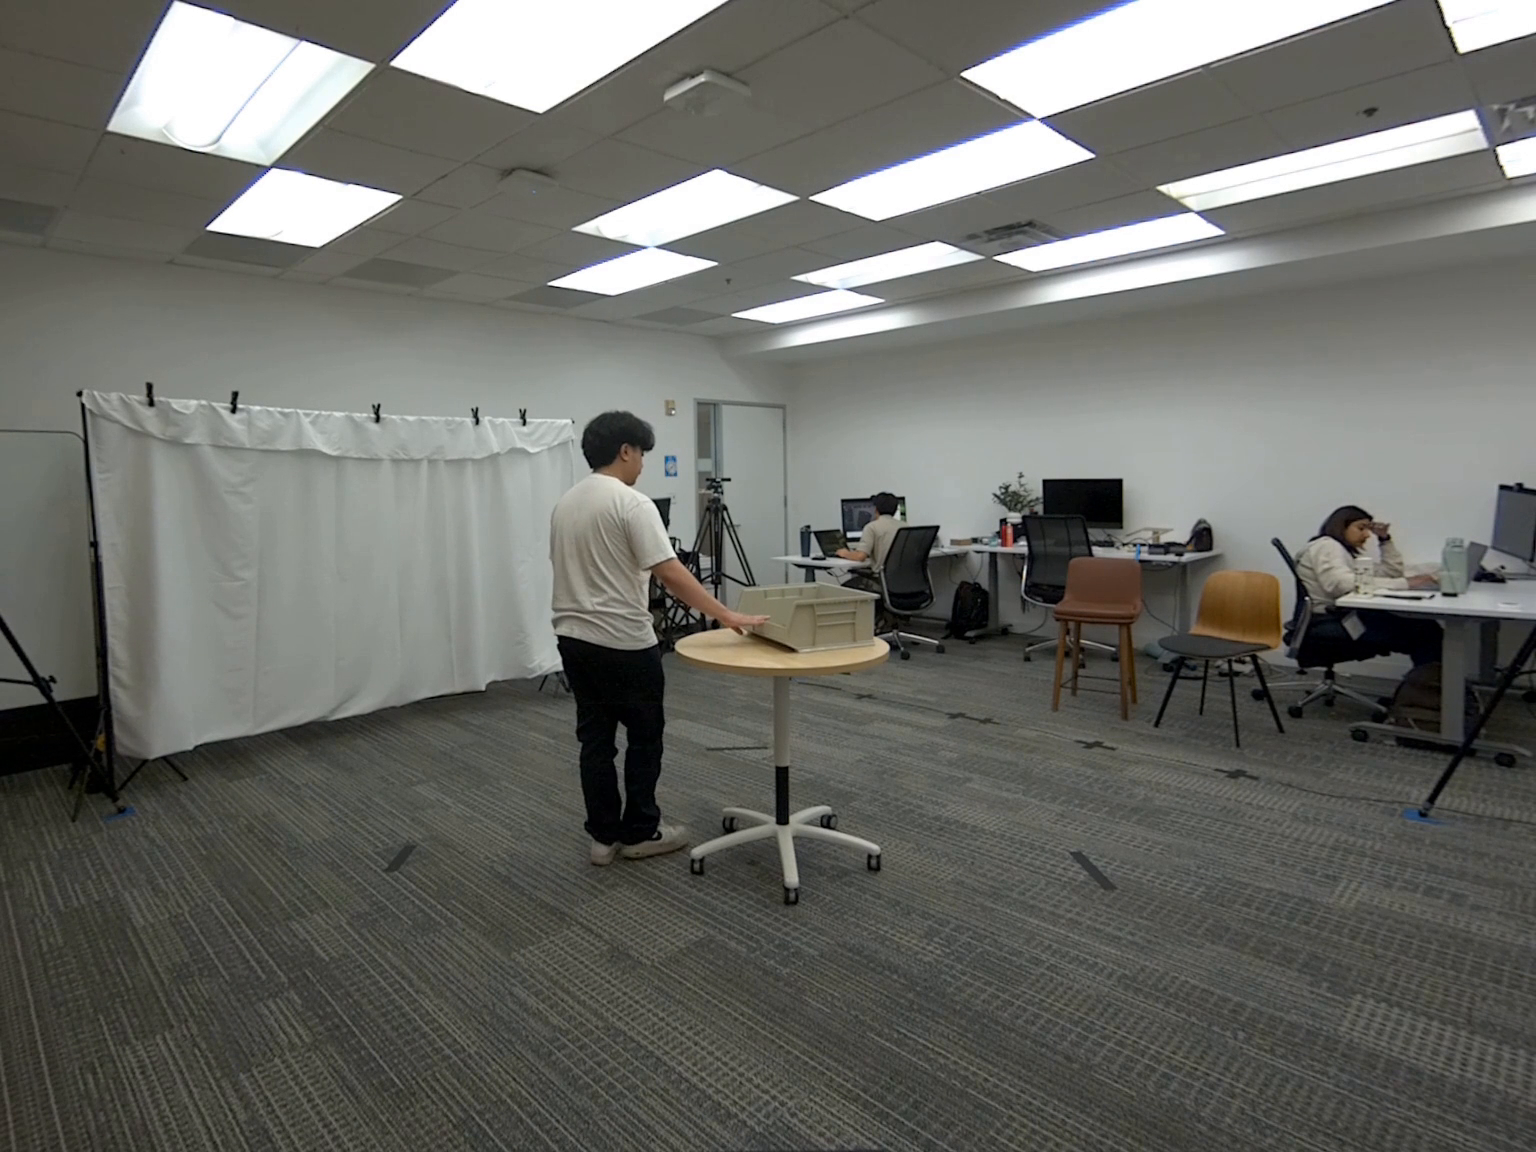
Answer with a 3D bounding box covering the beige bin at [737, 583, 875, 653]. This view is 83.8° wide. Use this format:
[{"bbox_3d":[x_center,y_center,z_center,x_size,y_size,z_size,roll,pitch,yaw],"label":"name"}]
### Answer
[{"bbox_3d":[0.131,0.147,3.147,0.369,0.188,0.433,-2,6,-25],"label":"beige bin"}]
